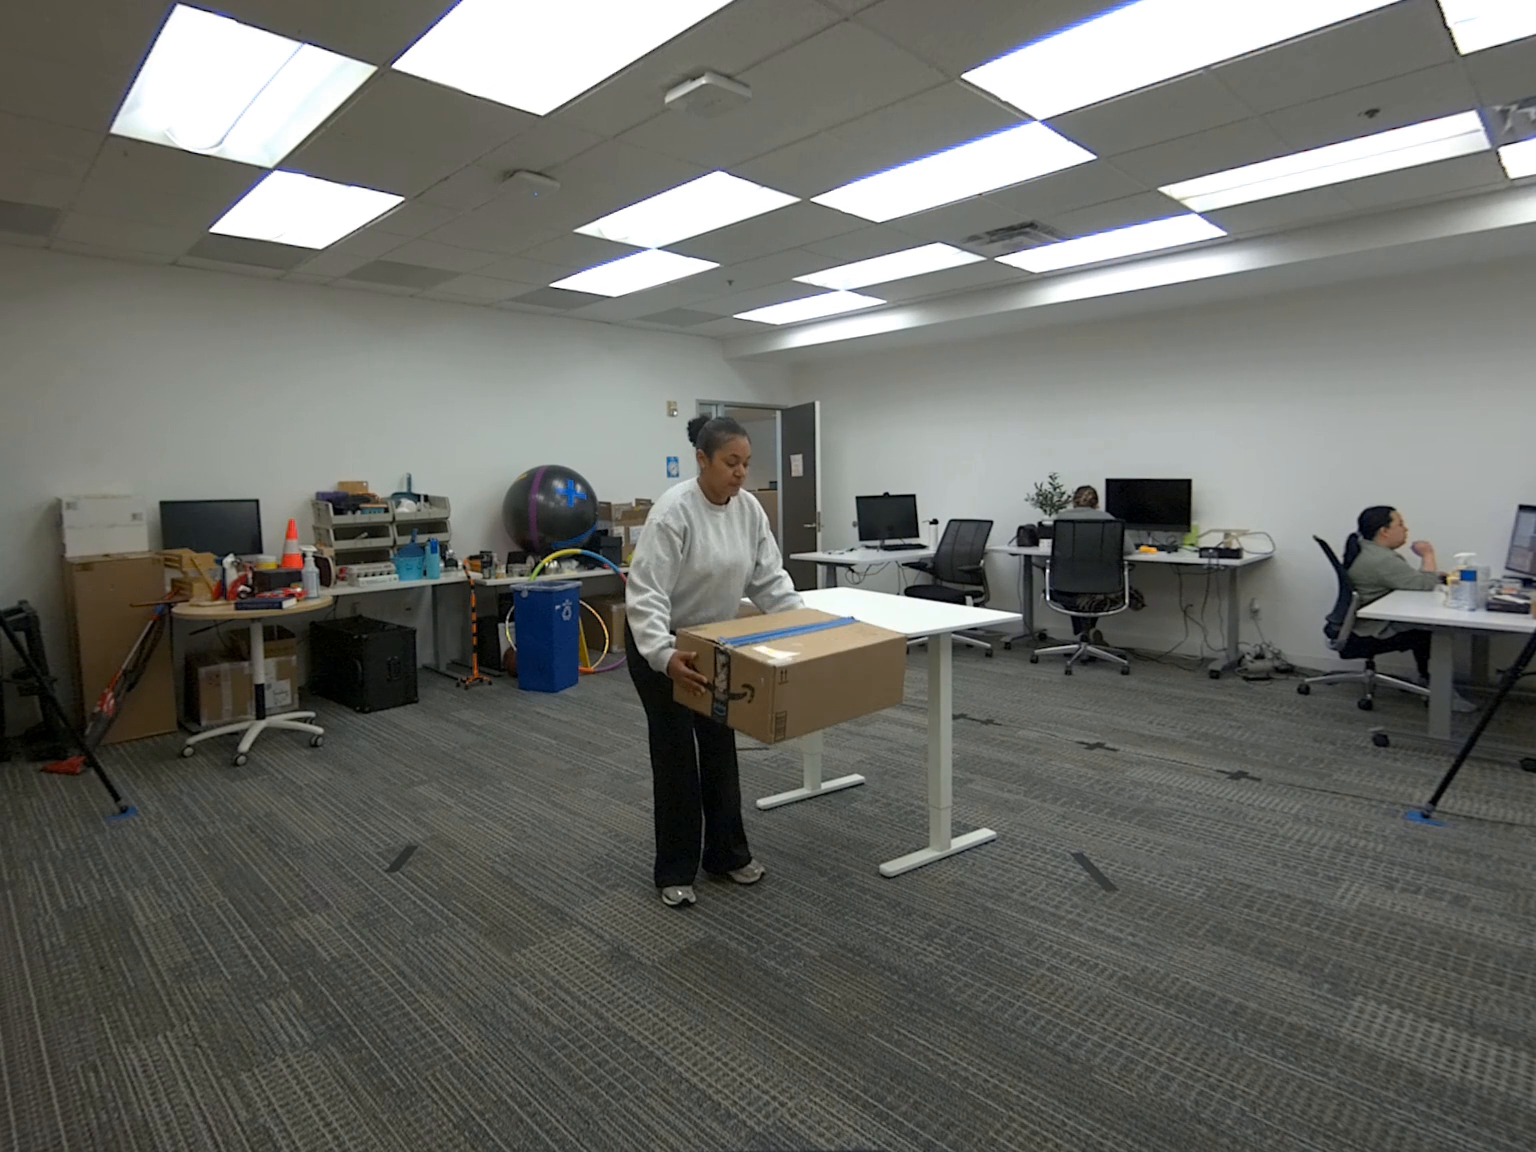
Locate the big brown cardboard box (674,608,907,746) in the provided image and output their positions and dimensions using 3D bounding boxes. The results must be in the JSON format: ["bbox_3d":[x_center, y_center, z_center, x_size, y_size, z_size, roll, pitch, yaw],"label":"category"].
[{"bbox_3d":[0.071,0.280,2.525,0.573,0.231,0.432,-6,13,-43],"label":"big brown cardboard box"}]
